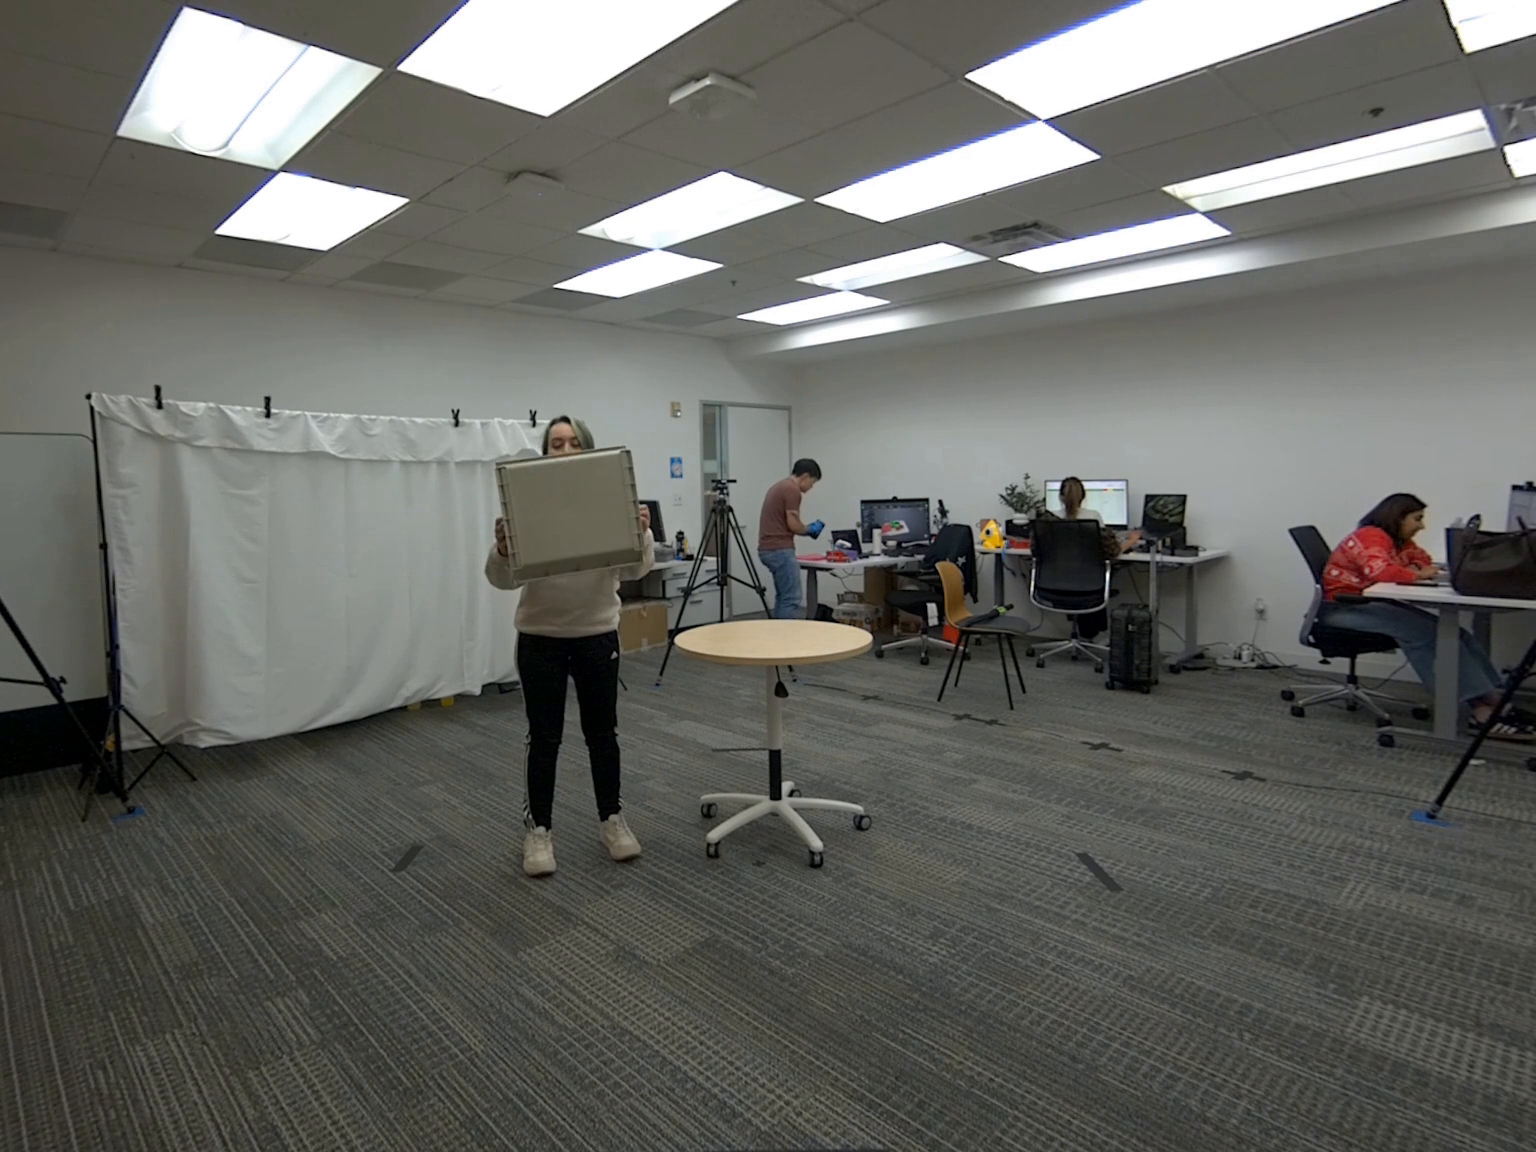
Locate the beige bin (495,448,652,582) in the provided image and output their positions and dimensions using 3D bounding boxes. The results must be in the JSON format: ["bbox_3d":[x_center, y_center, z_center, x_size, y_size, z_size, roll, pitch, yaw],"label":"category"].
[{"bbox_3d":[-0.625,-0.193,2.699,0.418,0.374,0.192,-8,8,-13],"label":"beige bin"}]
